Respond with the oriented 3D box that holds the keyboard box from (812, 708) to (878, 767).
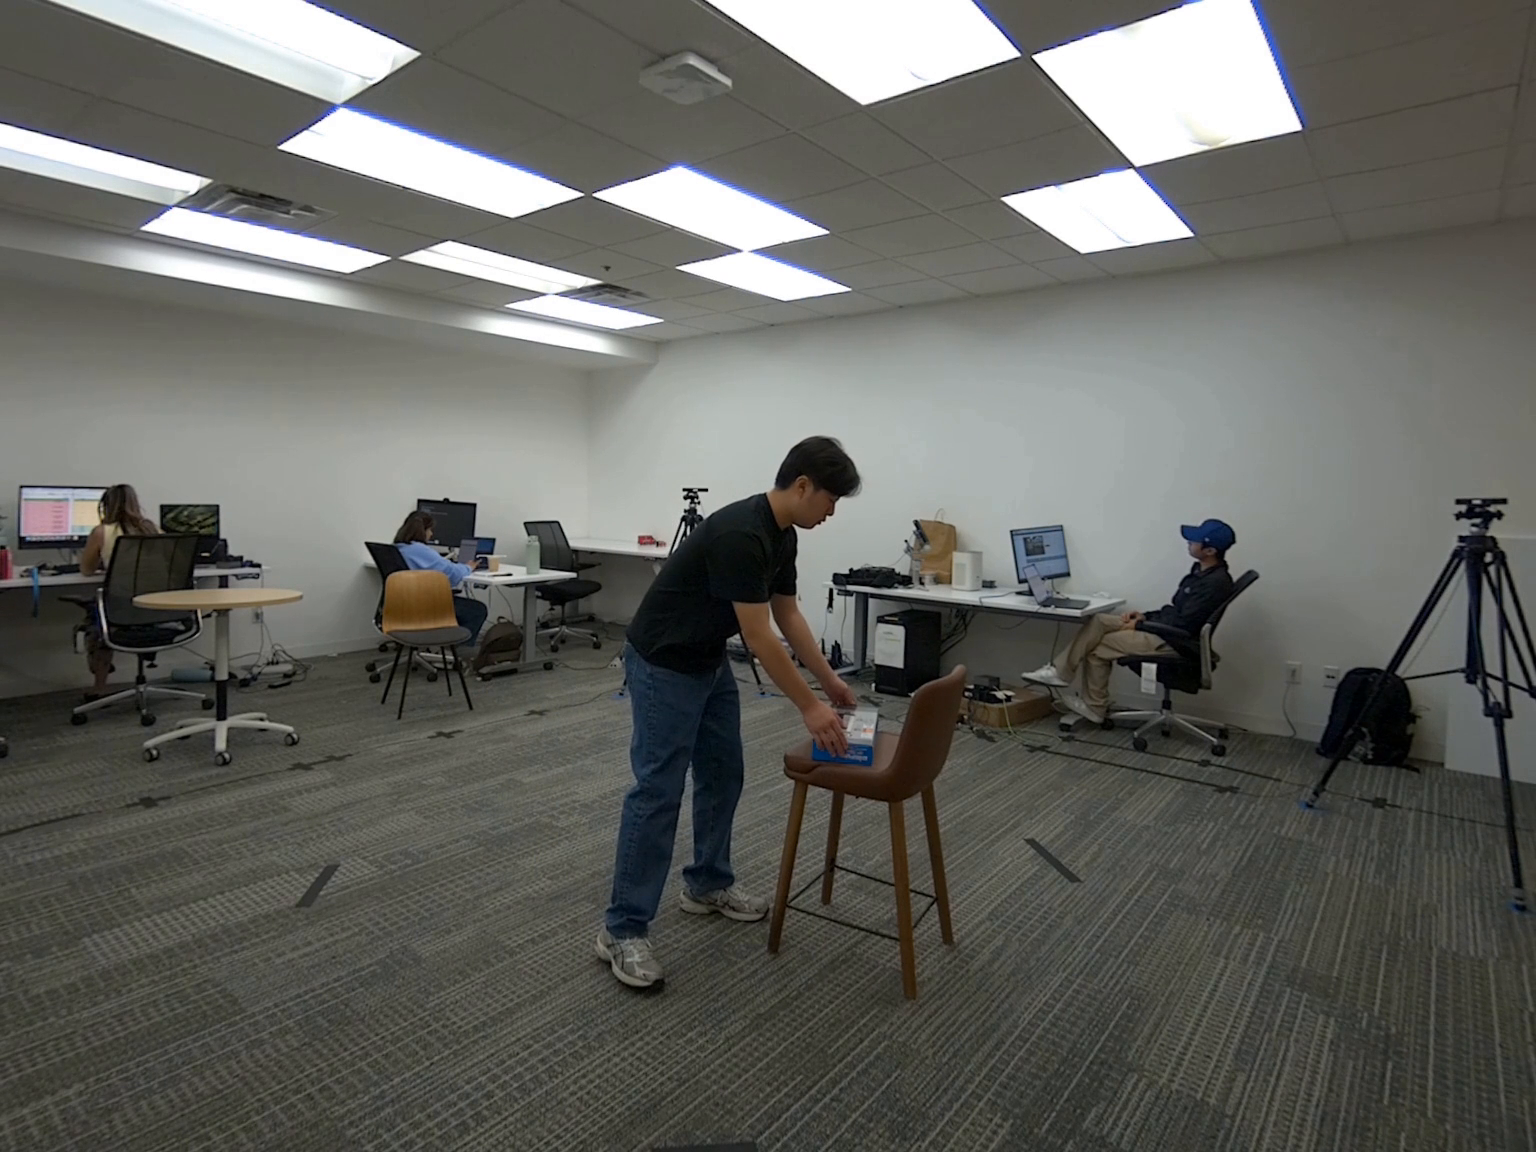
[{"bbox_3d":[0.237,0.484,2.637,0.178,0.059,0.432,3,7,12],"label":"keyboard box"}]
